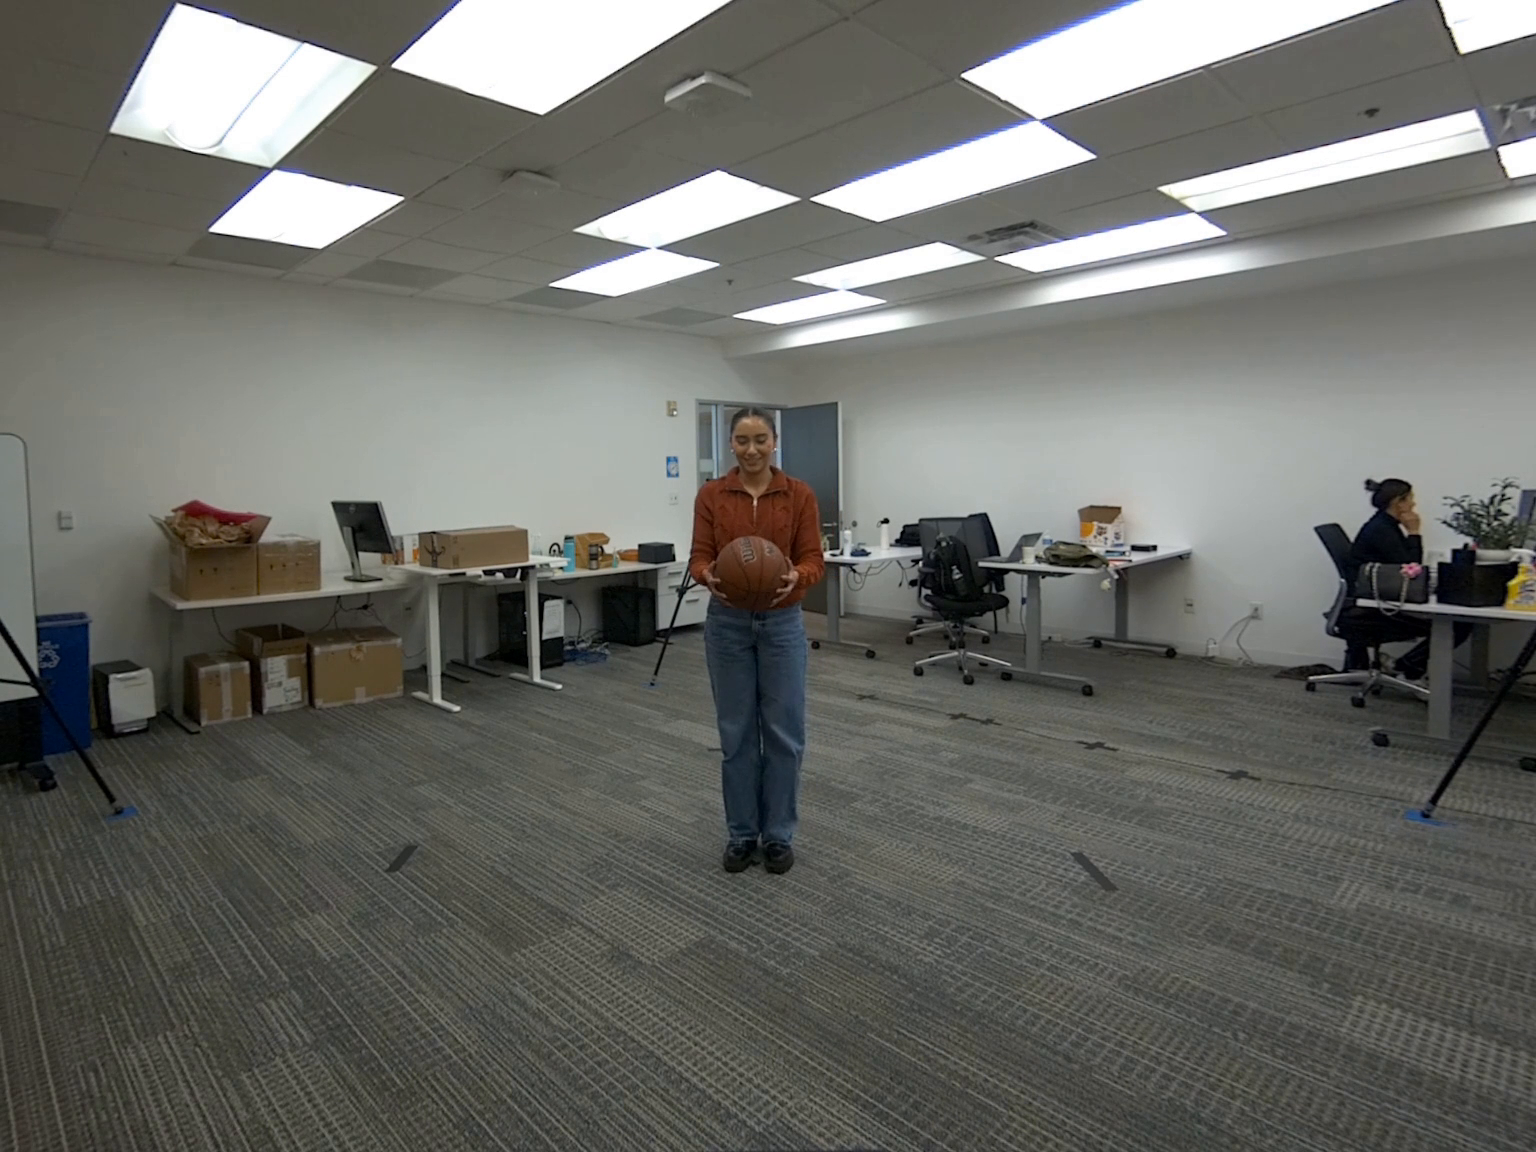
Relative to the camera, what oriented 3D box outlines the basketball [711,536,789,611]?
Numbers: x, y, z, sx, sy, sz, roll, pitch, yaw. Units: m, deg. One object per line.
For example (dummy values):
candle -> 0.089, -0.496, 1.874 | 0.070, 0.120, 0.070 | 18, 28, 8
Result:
basketball -> -0.052, 0.002, 2.745 | 0.236, 0.235, 0.237 | -1, 5, -2
